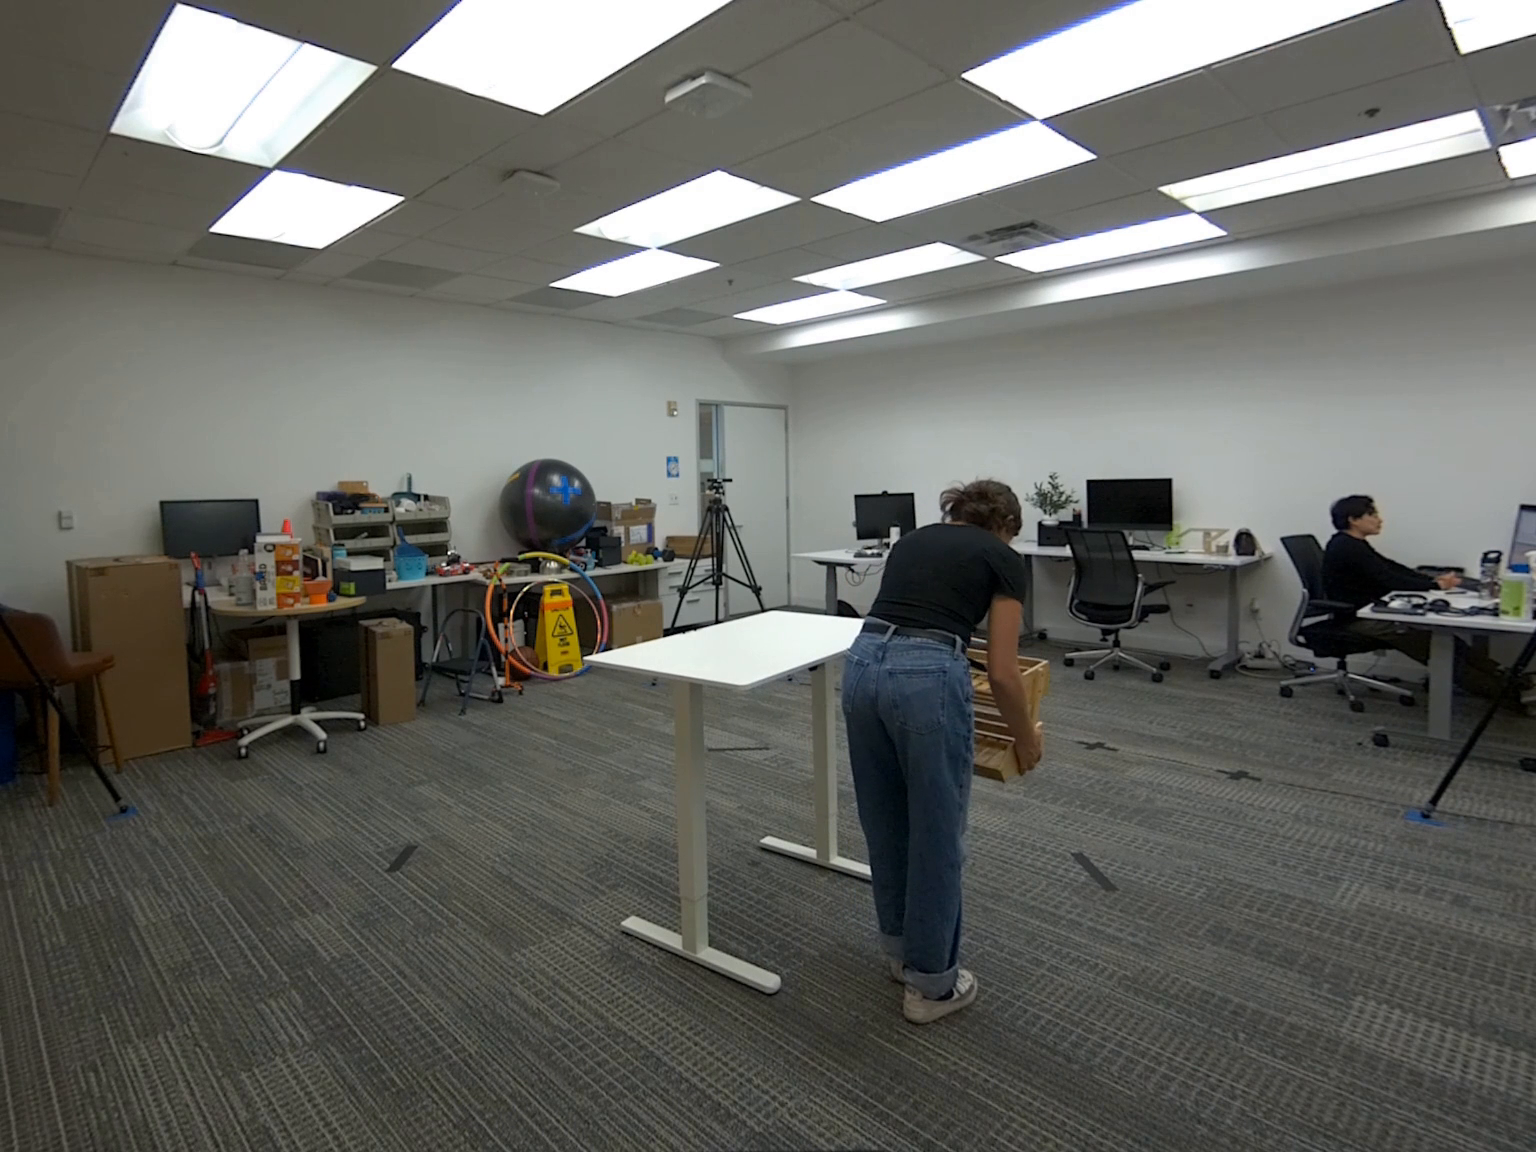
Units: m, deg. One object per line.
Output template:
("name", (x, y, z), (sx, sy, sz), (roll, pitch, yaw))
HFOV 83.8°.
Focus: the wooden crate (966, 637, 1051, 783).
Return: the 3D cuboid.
("wooden crate", (0.607, 0.389, 2.442), (0.334, 0.271, 0.295), (4, 13, 45))
